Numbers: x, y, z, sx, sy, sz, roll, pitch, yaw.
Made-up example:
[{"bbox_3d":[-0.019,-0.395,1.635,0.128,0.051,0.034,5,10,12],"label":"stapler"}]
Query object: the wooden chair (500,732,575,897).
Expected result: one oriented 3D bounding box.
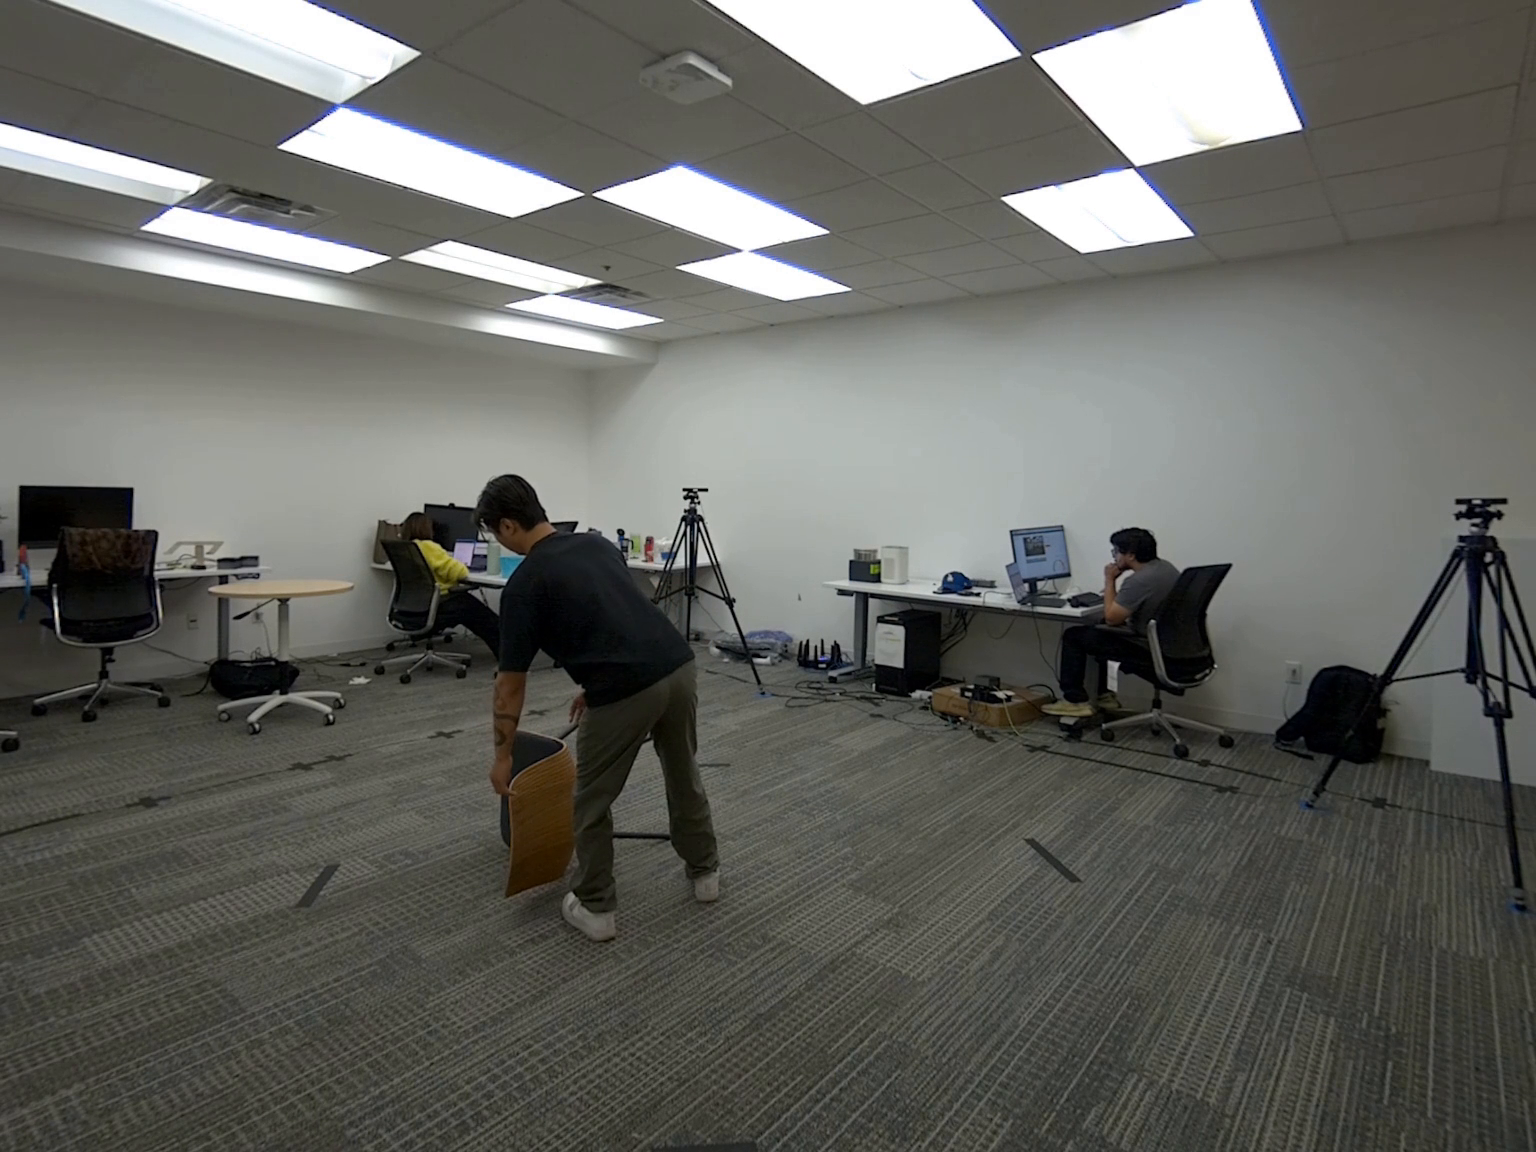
[{"bbox_3d":[-0.820,0.822,3.168,0.539,0.476,0.854,4,5,31],"label":"wooden chair"}]
